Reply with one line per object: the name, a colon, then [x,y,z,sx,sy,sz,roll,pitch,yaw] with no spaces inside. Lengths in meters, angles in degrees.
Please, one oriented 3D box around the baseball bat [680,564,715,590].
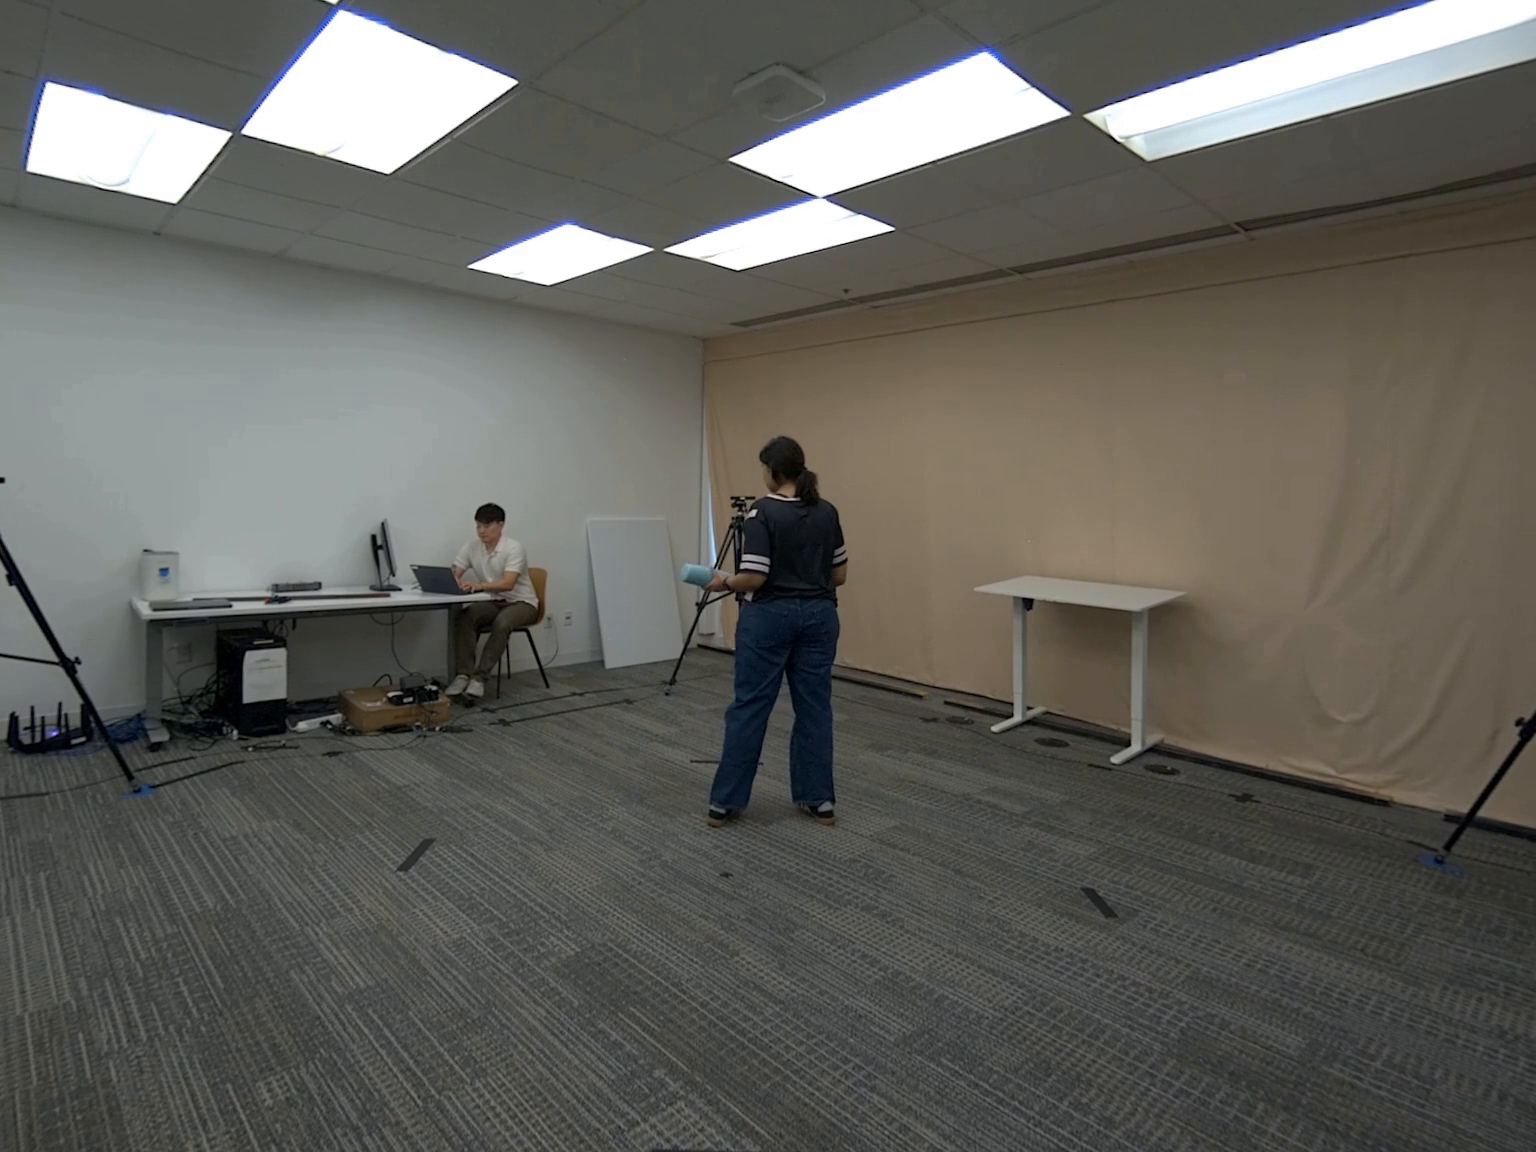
baseball bat: [-0.150,0.037,3.853,0.531,0.089,0.091,13,-1,-25]
